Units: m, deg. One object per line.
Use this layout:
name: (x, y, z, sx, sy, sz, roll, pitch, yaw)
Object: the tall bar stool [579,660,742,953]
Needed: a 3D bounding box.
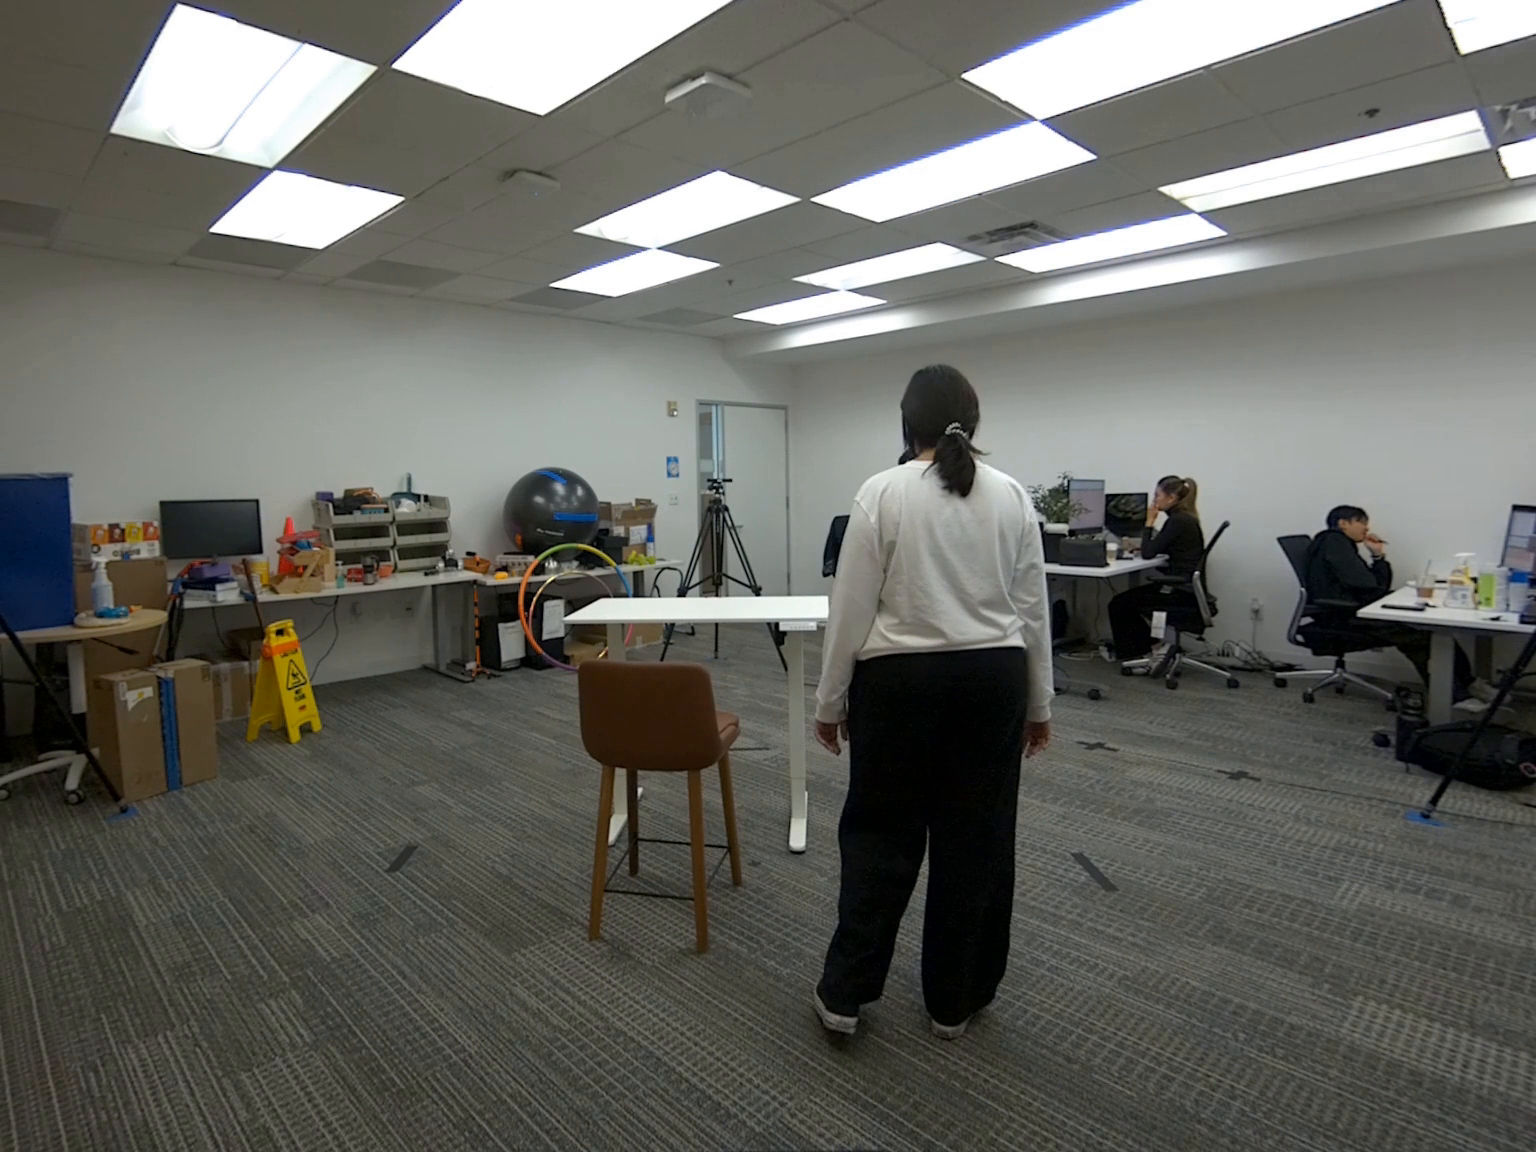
tall bar stool: (-0.332, 0.656, 2.752, 0.463, 0.885, 0.464, 0, 6, 13)
